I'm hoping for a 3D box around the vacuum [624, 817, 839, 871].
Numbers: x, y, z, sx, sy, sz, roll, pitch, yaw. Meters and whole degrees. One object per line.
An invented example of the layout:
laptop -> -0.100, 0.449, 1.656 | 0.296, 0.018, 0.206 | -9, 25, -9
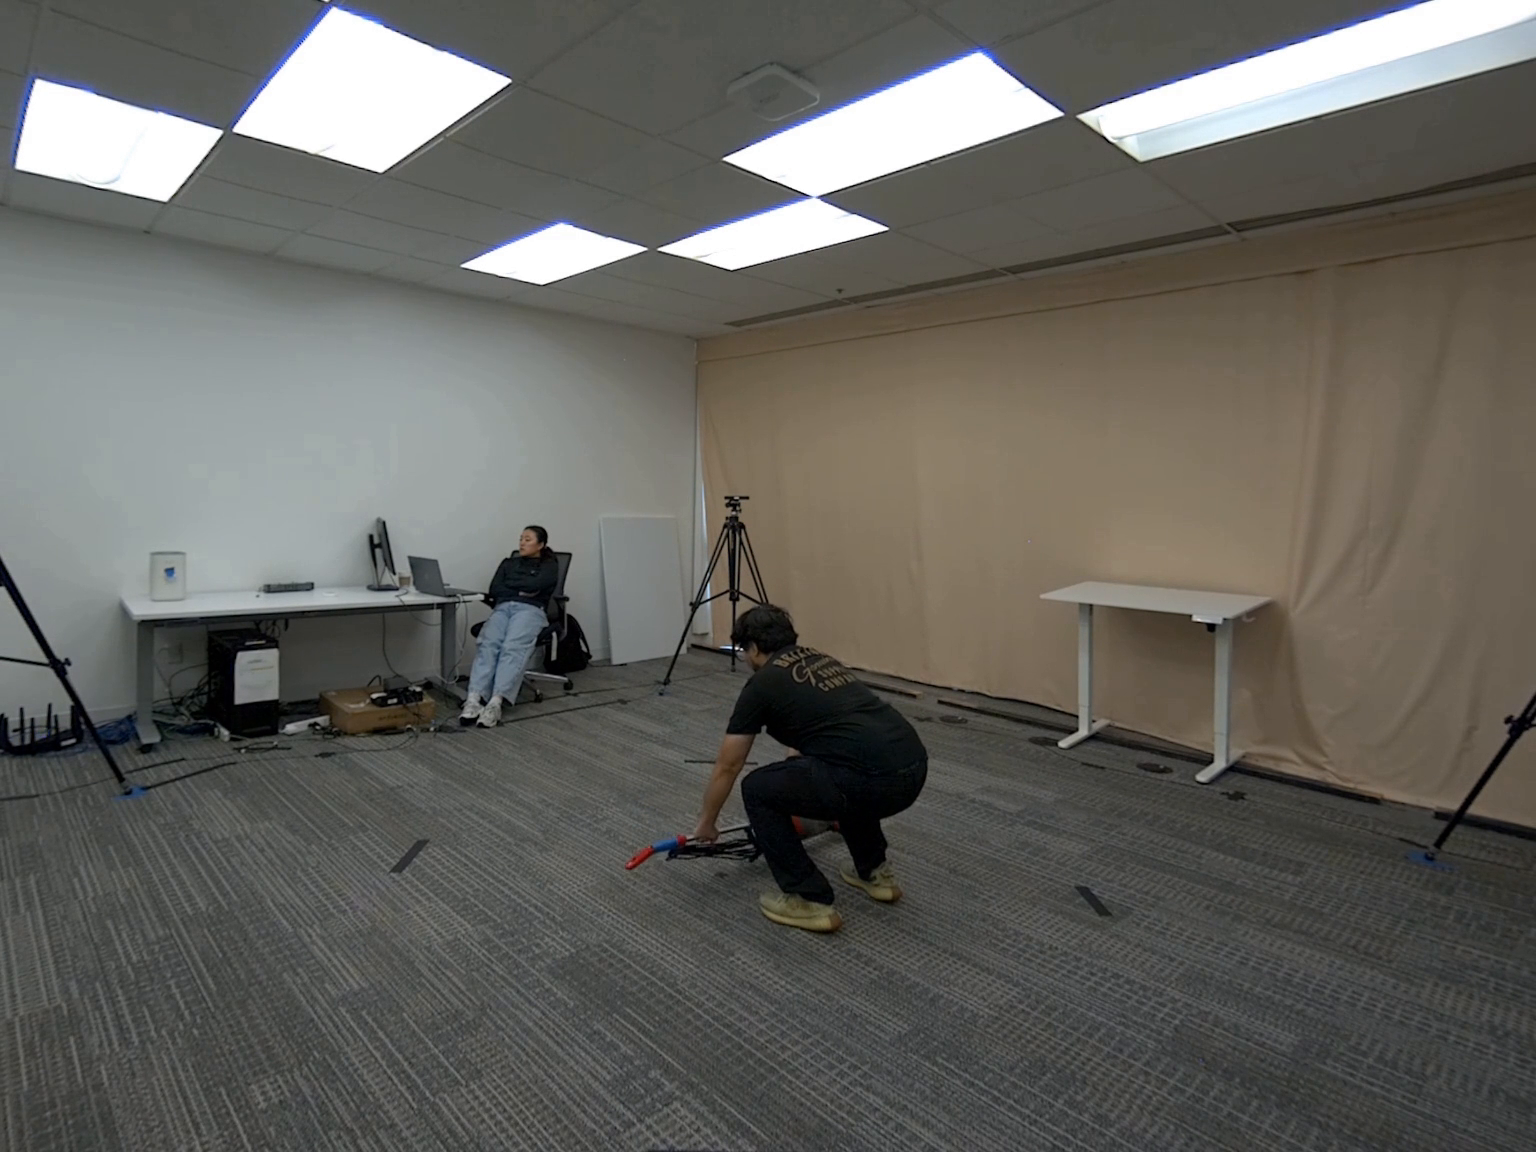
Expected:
vacuum -> -0.099, 0.974, 3.152 | 1.024, 0.143, 0.260 | 0, 12, -40
